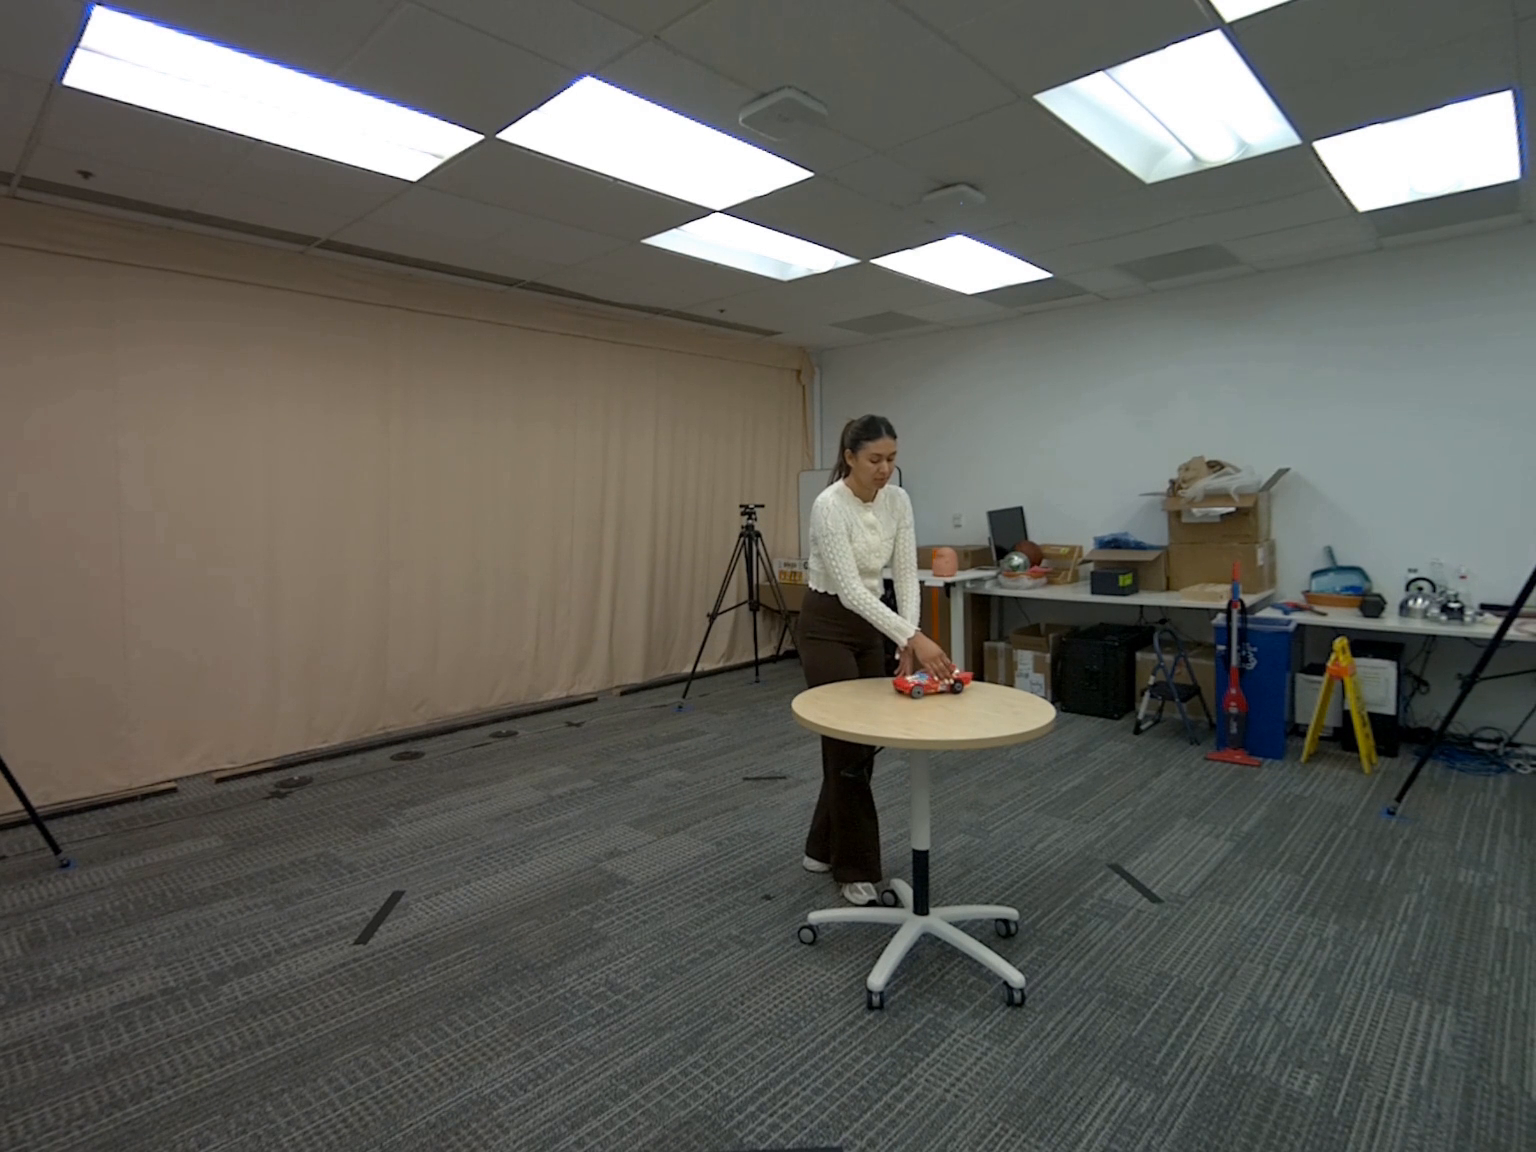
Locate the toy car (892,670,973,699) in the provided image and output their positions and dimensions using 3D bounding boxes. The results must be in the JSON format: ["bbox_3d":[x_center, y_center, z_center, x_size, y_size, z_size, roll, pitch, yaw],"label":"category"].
[{"bbox_3d":[0.536,0.340,2.673,0.251,0.083,0.133,-14,9,-18],"label":"toy car"}]
